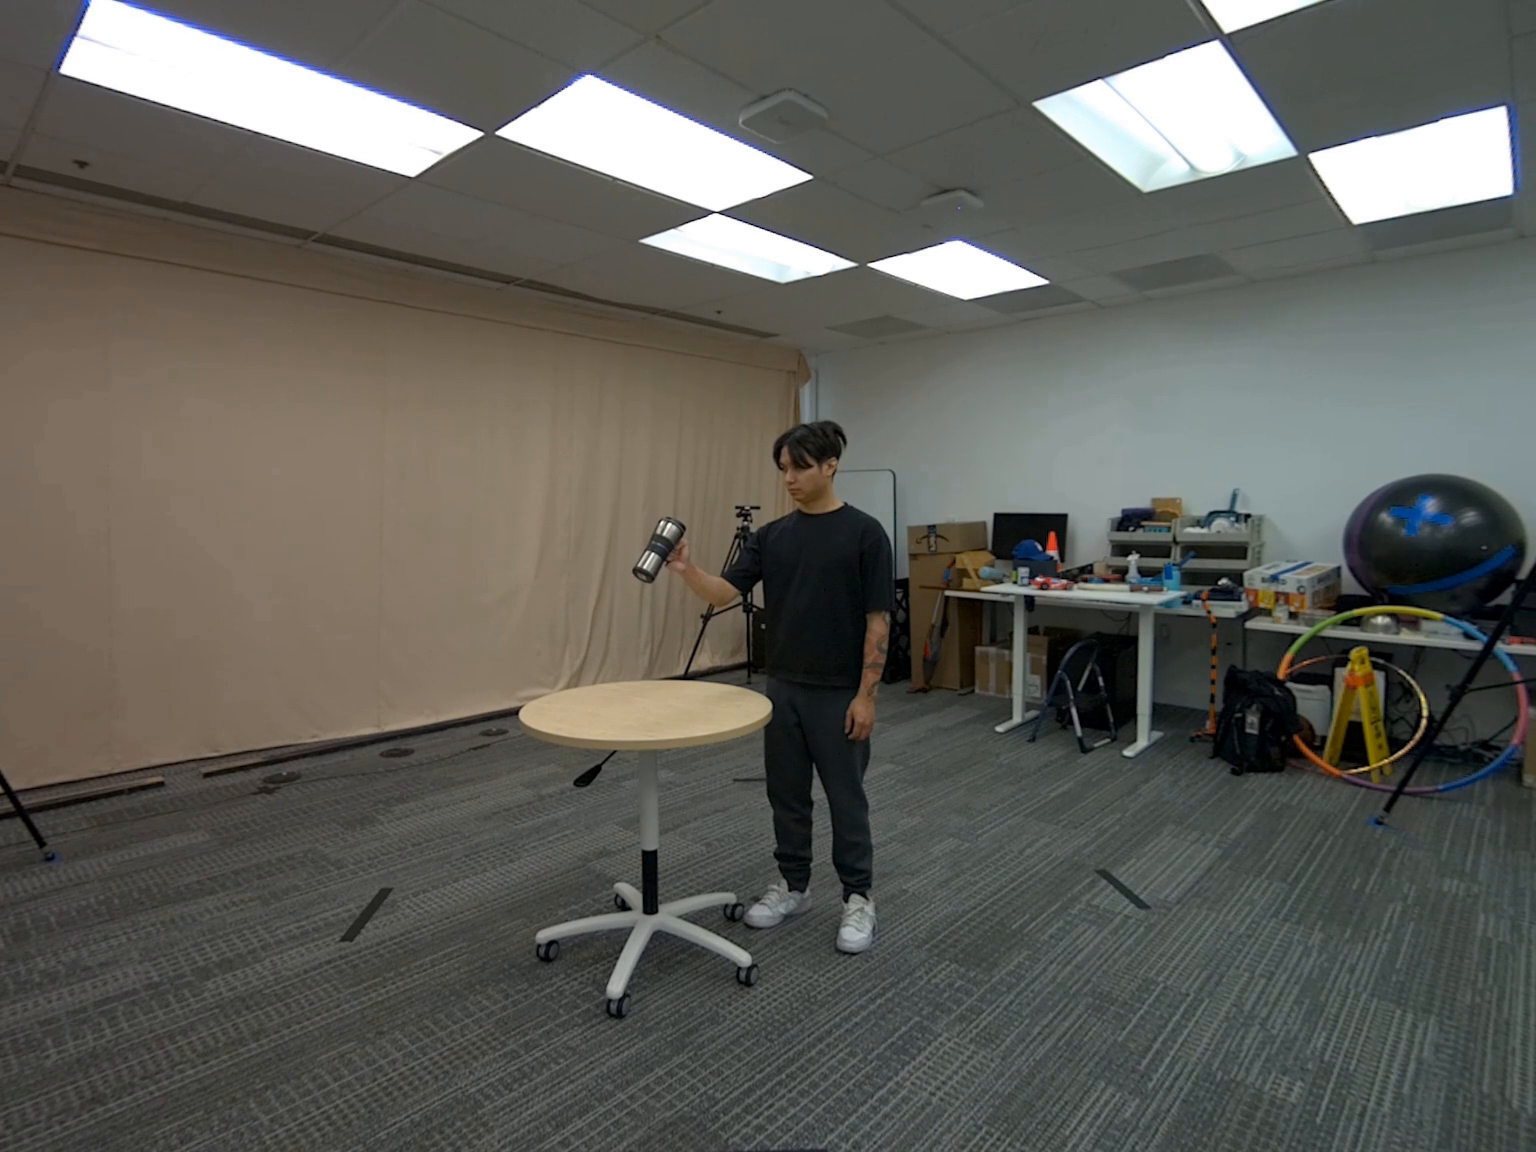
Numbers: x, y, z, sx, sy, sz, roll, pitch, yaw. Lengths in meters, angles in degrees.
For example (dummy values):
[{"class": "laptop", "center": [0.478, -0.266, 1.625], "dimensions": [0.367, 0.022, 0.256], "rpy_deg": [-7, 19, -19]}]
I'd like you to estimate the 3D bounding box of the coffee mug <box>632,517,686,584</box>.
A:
[{"class": "coffee mug", "center": [-0.310, -0.067, 2.539], "dimensions": [0.121, 0.203, 0.089], "rpy_deg": [30, -26, -9]}]
